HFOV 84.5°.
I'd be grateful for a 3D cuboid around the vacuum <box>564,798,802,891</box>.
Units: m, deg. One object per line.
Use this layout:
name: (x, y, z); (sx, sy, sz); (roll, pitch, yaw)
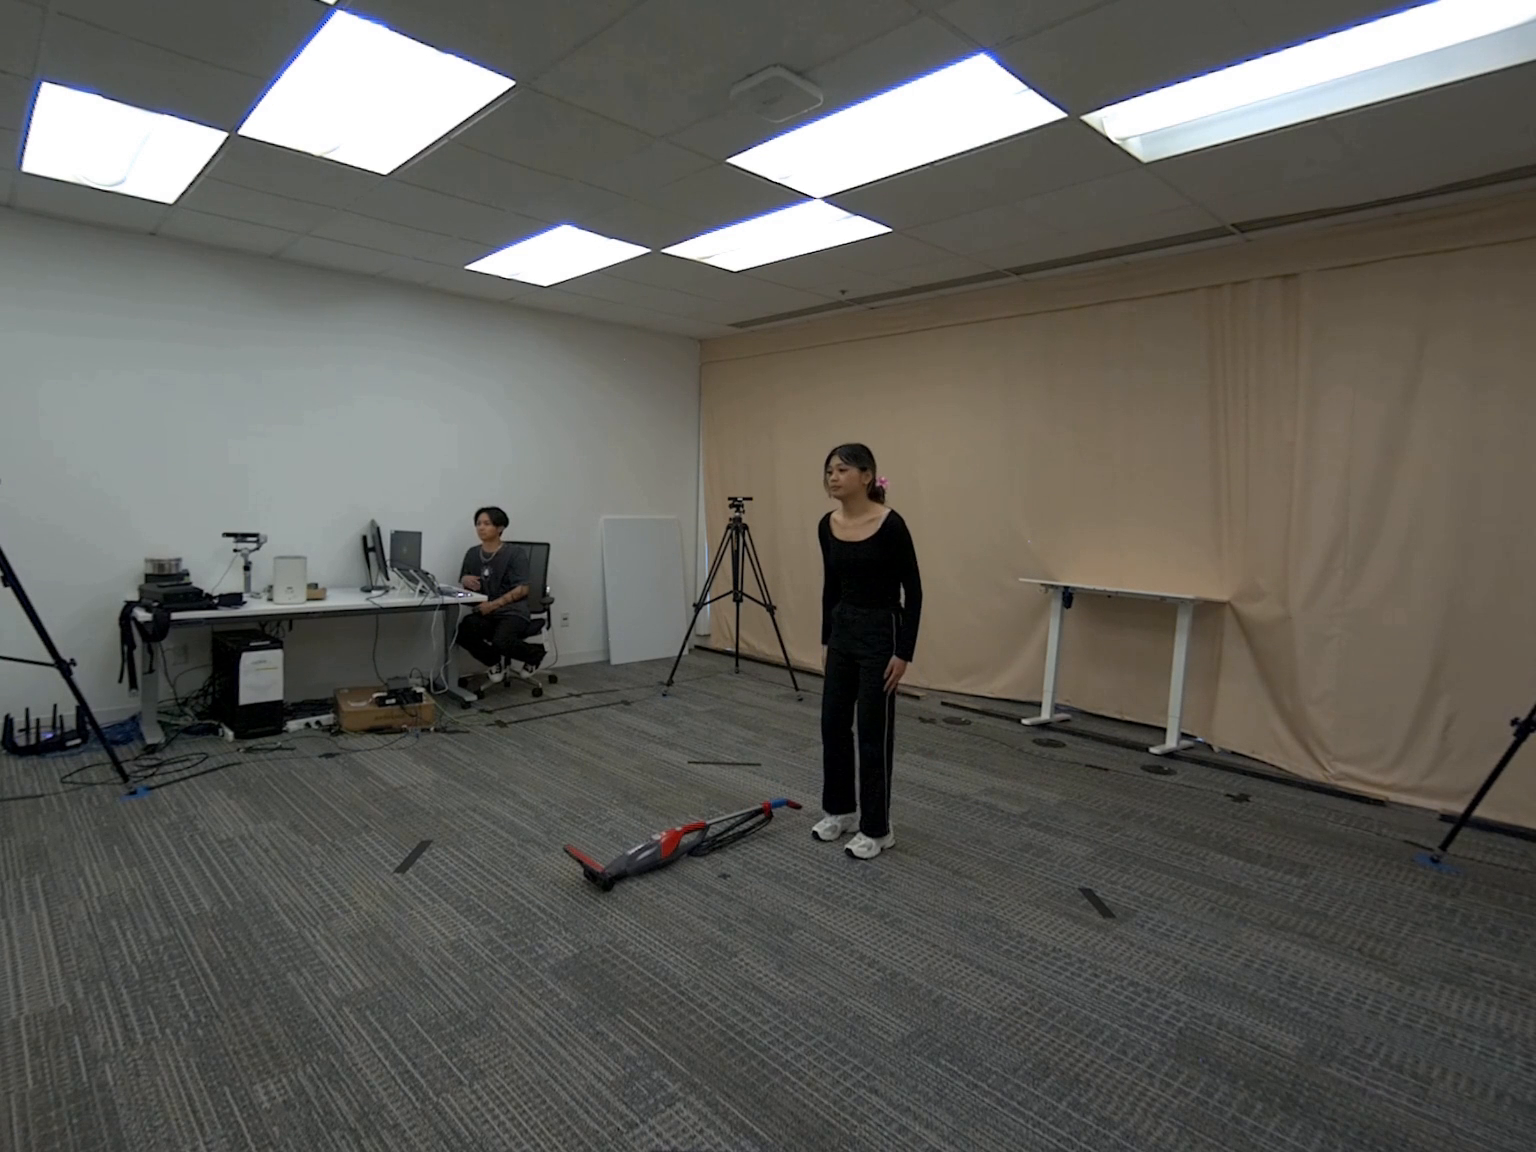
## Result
vacuum: (-0.263, 1.033, 3.308); (1.025, 0.143, 0.259); (-2, 5, -40)
